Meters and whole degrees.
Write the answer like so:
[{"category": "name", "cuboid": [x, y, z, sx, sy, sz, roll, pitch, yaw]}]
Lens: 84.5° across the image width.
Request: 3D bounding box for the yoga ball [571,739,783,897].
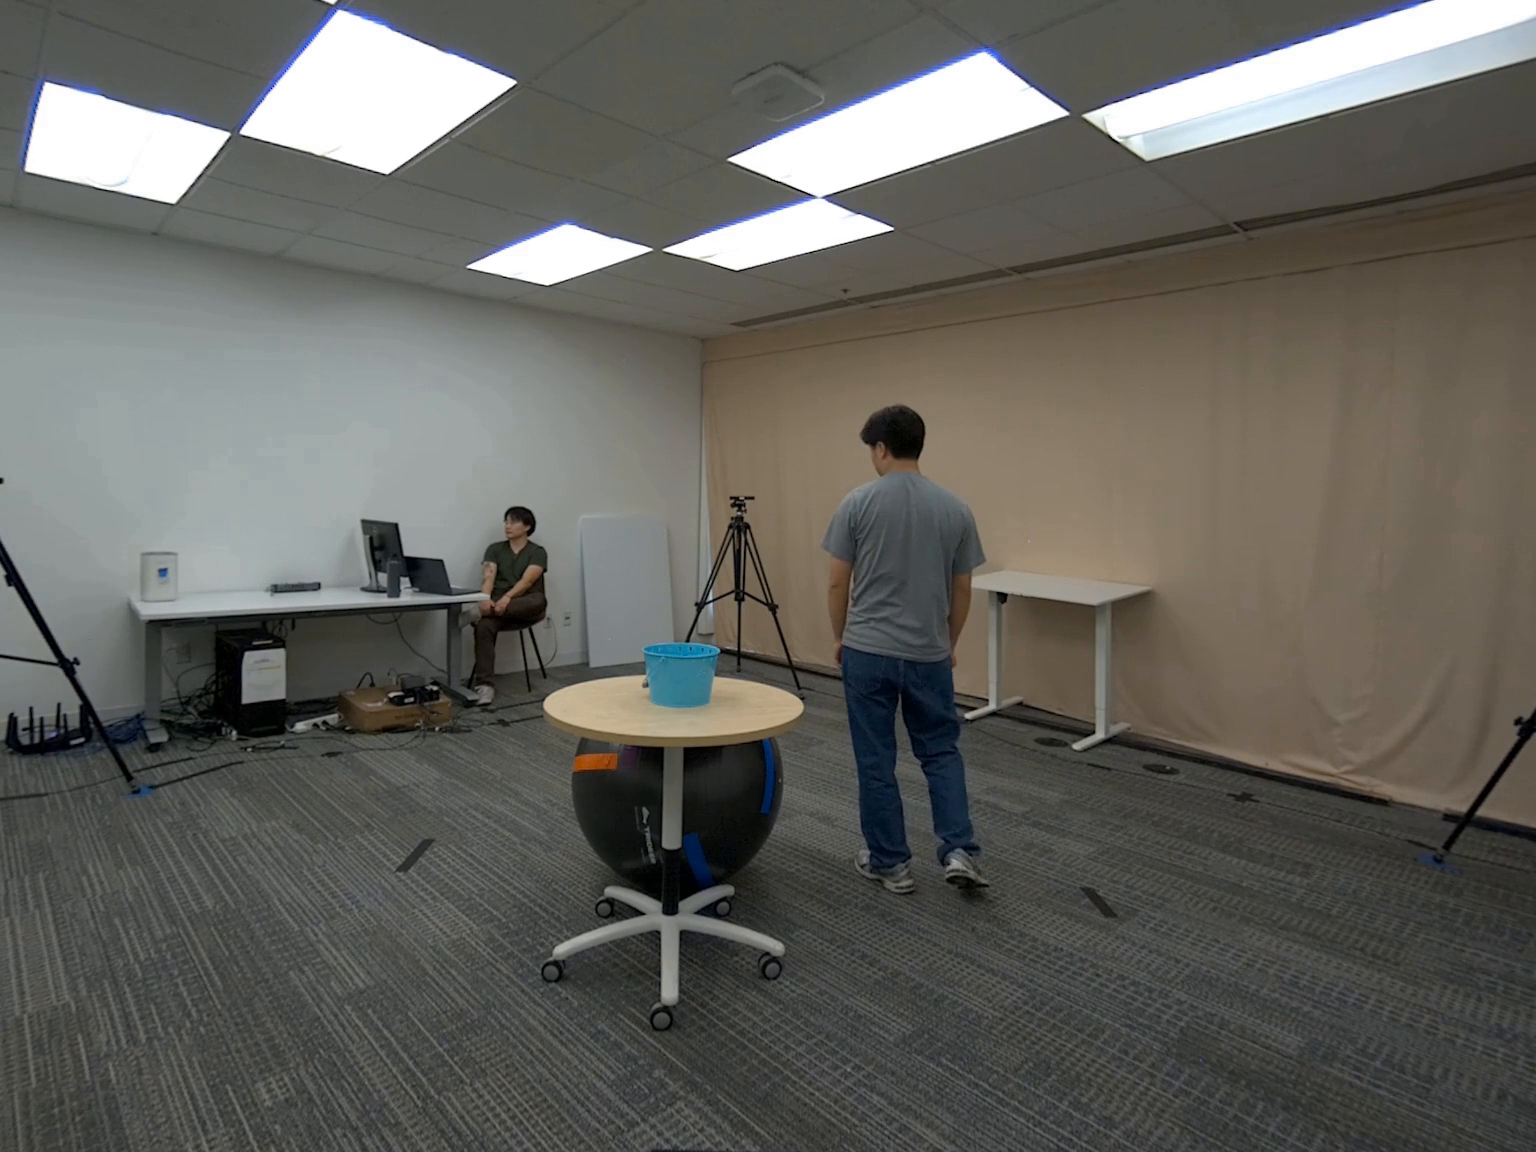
[{"category": "yoga ball", "cuboid": [-0.337, 0.735, 3.034, 0.757, 0.756, 0.761, 1, 4, -1]}]
